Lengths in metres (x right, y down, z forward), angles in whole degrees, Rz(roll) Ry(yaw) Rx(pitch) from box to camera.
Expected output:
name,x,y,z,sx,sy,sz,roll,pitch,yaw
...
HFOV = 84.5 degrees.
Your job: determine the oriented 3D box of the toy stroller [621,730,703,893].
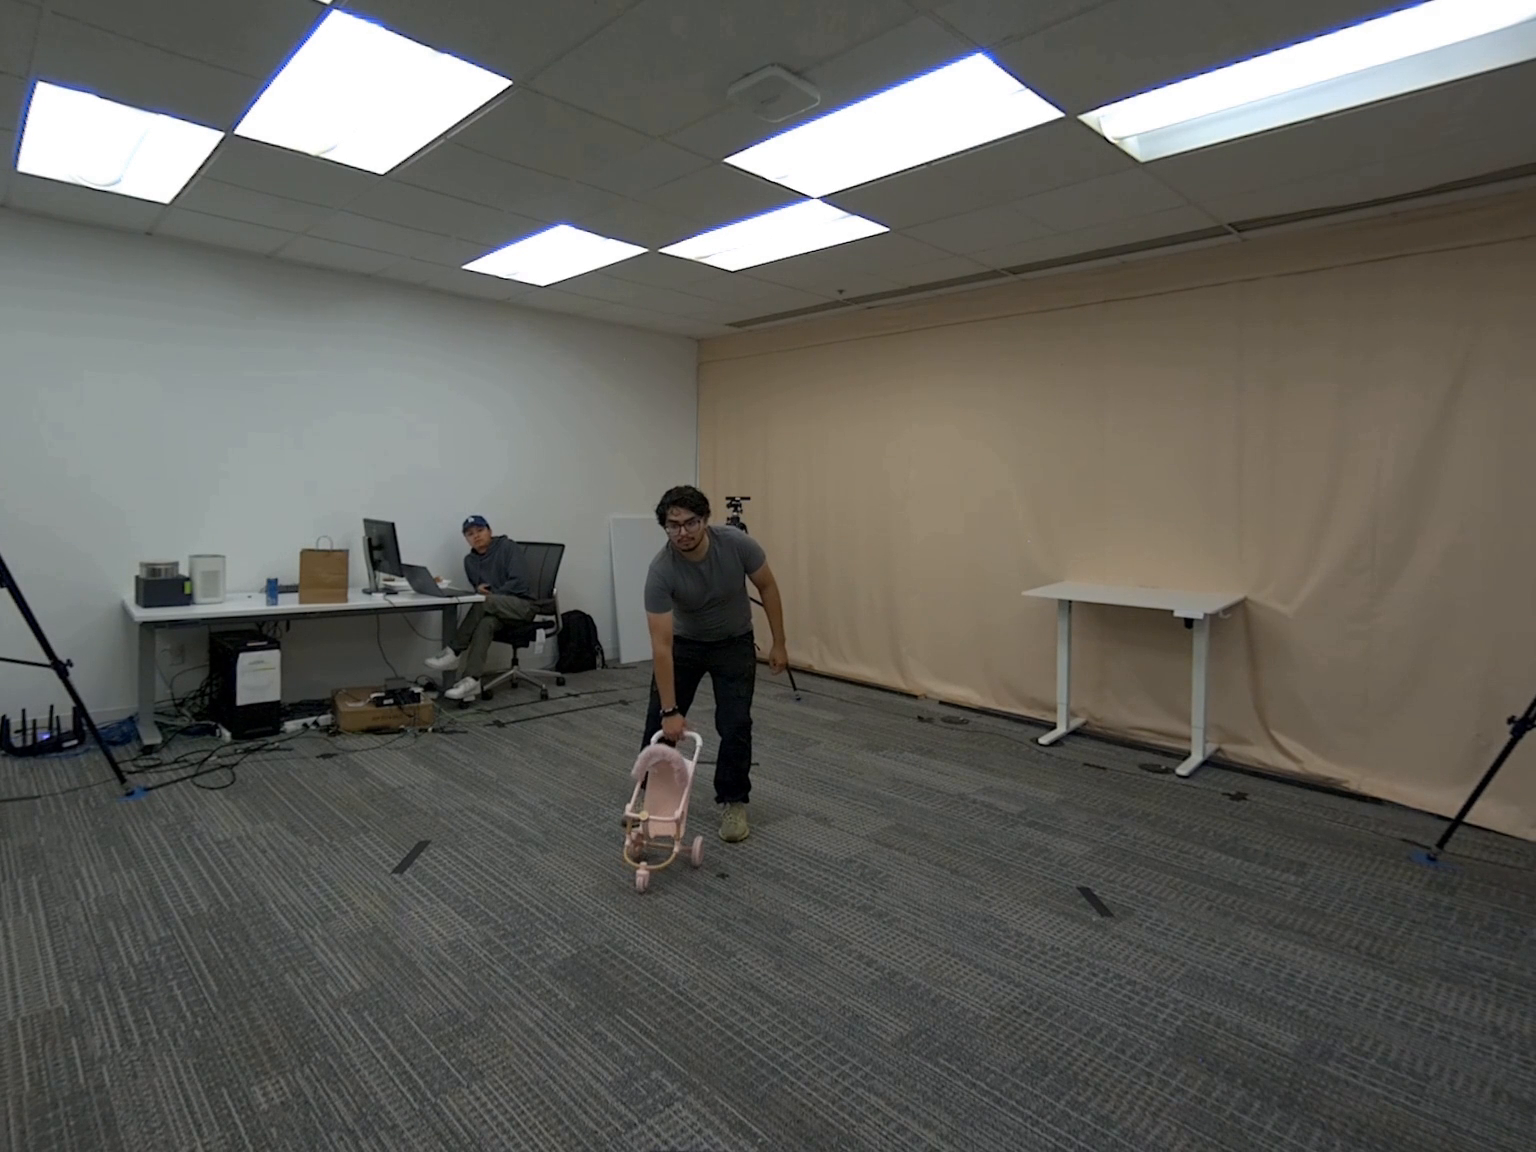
name,x,y,z,sx,sy,sz,roll,pitch,yaw
toy stroller,-0.409,0.866,3.114,0.285,0.537,0.335,3,-7,17
